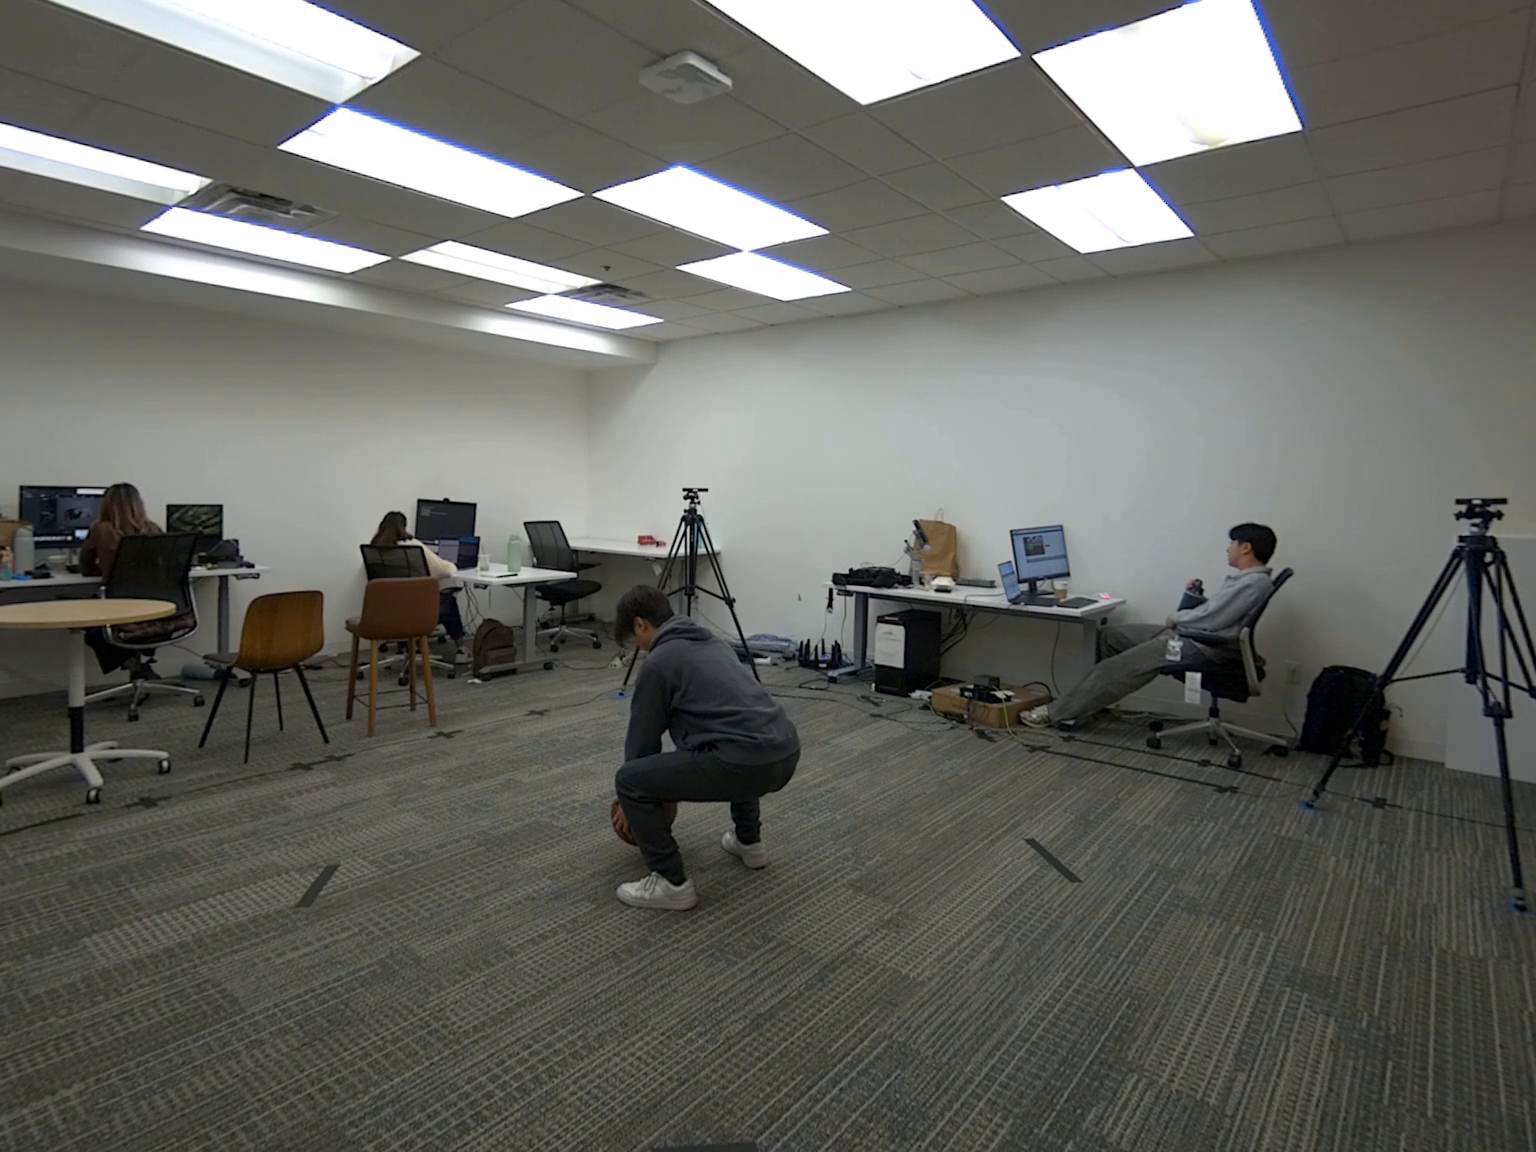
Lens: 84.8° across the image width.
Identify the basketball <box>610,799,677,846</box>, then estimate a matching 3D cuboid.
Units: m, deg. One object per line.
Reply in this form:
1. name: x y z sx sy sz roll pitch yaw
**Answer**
1. basketball: -0.481 0.882 3.217 0.235 0.235 0.237 1 4 -2
